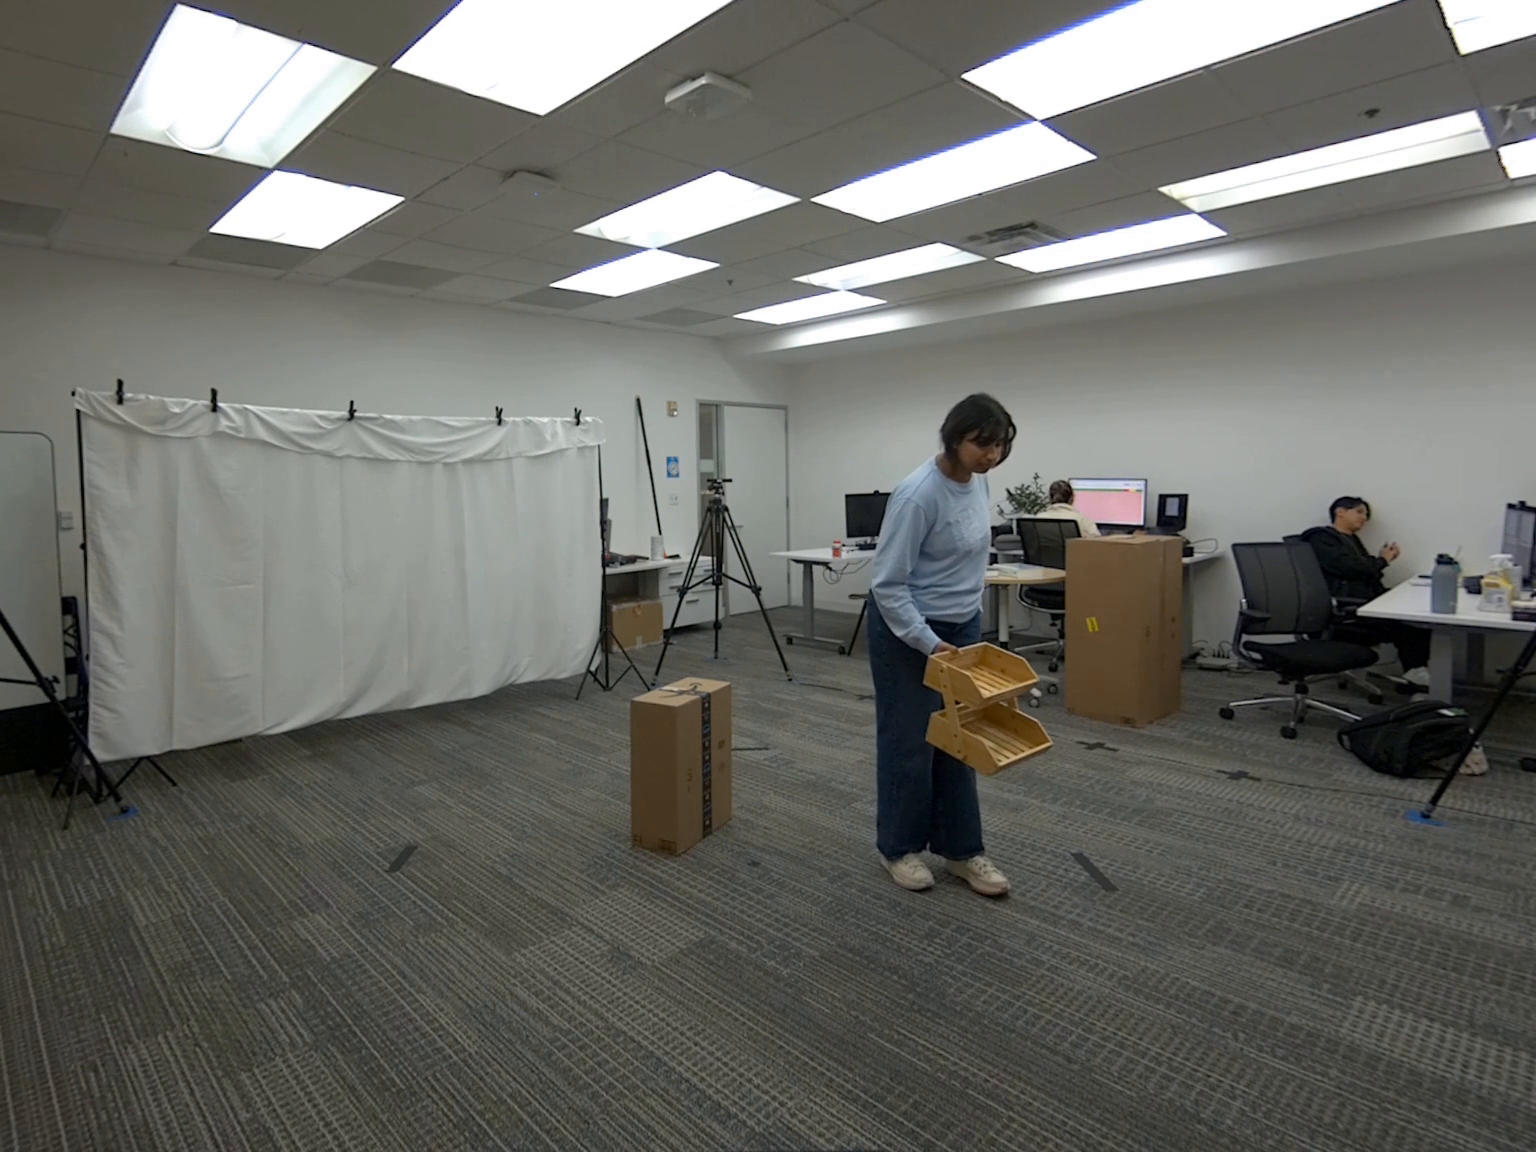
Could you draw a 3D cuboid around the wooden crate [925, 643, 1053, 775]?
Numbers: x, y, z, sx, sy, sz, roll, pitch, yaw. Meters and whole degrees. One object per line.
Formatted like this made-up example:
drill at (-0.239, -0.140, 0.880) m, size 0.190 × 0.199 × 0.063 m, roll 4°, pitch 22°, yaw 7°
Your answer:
wooden crate at (0.690, 0.397, 2.601) m, size 0.316 × 0.270 × 0.313 m, roll -6°, pitch 20°, yaw -42°
